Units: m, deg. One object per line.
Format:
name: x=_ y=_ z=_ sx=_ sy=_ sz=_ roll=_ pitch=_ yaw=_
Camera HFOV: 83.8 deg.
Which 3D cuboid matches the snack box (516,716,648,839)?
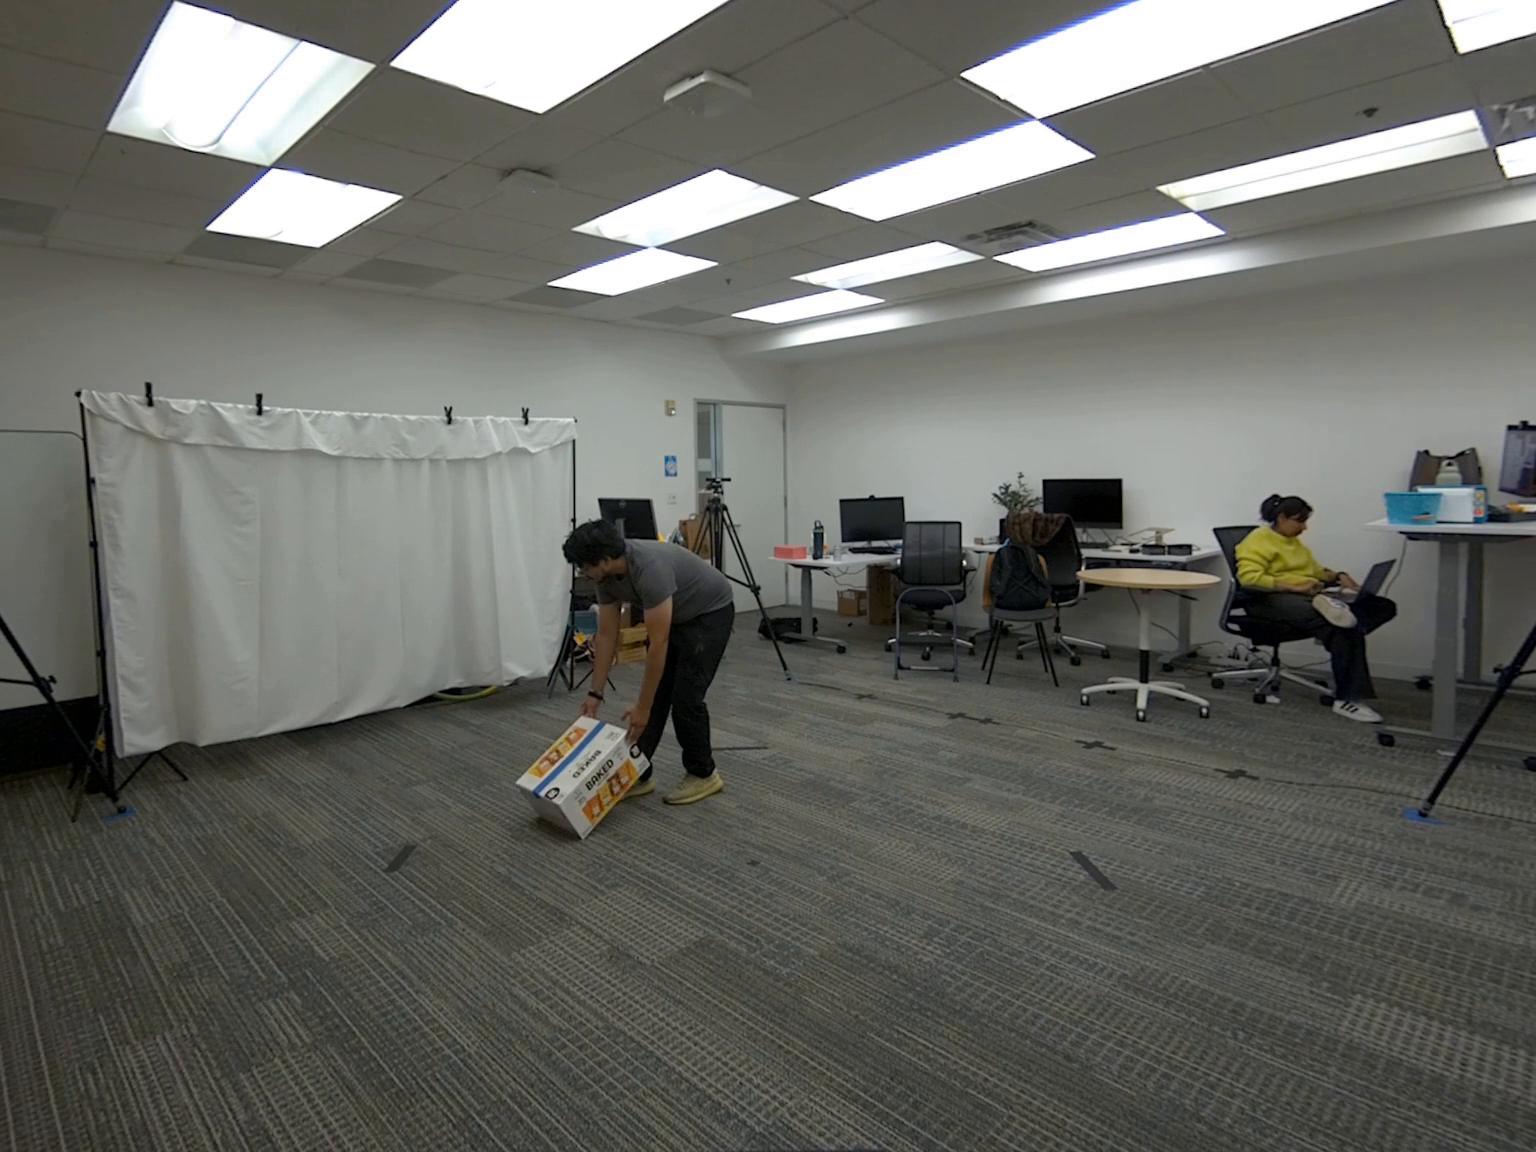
snack box: x=-0.763 y=0.819 z=3.526 sx=0.351 sy=0.200 sz=0.404 roll=3 pitch=40 yaw=46
